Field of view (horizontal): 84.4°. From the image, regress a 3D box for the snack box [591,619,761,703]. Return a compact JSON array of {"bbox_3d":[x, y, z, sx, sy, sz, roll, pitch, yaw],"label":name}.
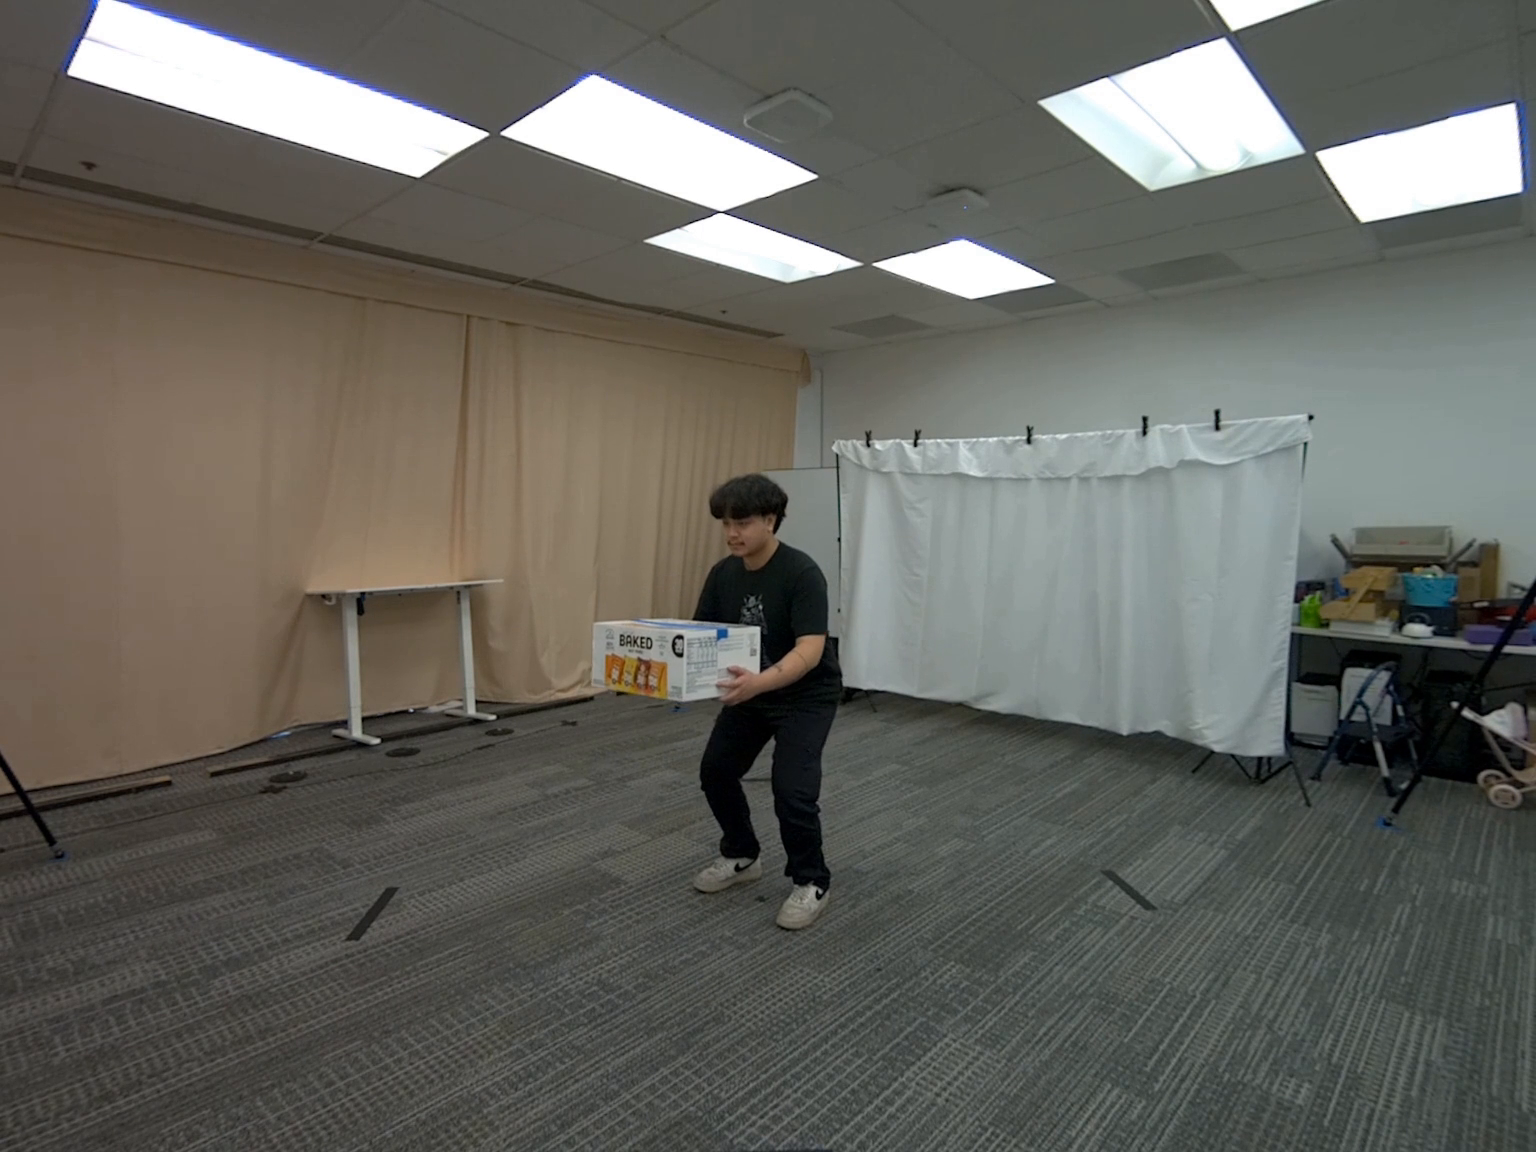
[{"bbox_3d":[-0.286,0.253,2.646,0.418,0.205,0.329,2,1,41],"label":"snack box"}]
